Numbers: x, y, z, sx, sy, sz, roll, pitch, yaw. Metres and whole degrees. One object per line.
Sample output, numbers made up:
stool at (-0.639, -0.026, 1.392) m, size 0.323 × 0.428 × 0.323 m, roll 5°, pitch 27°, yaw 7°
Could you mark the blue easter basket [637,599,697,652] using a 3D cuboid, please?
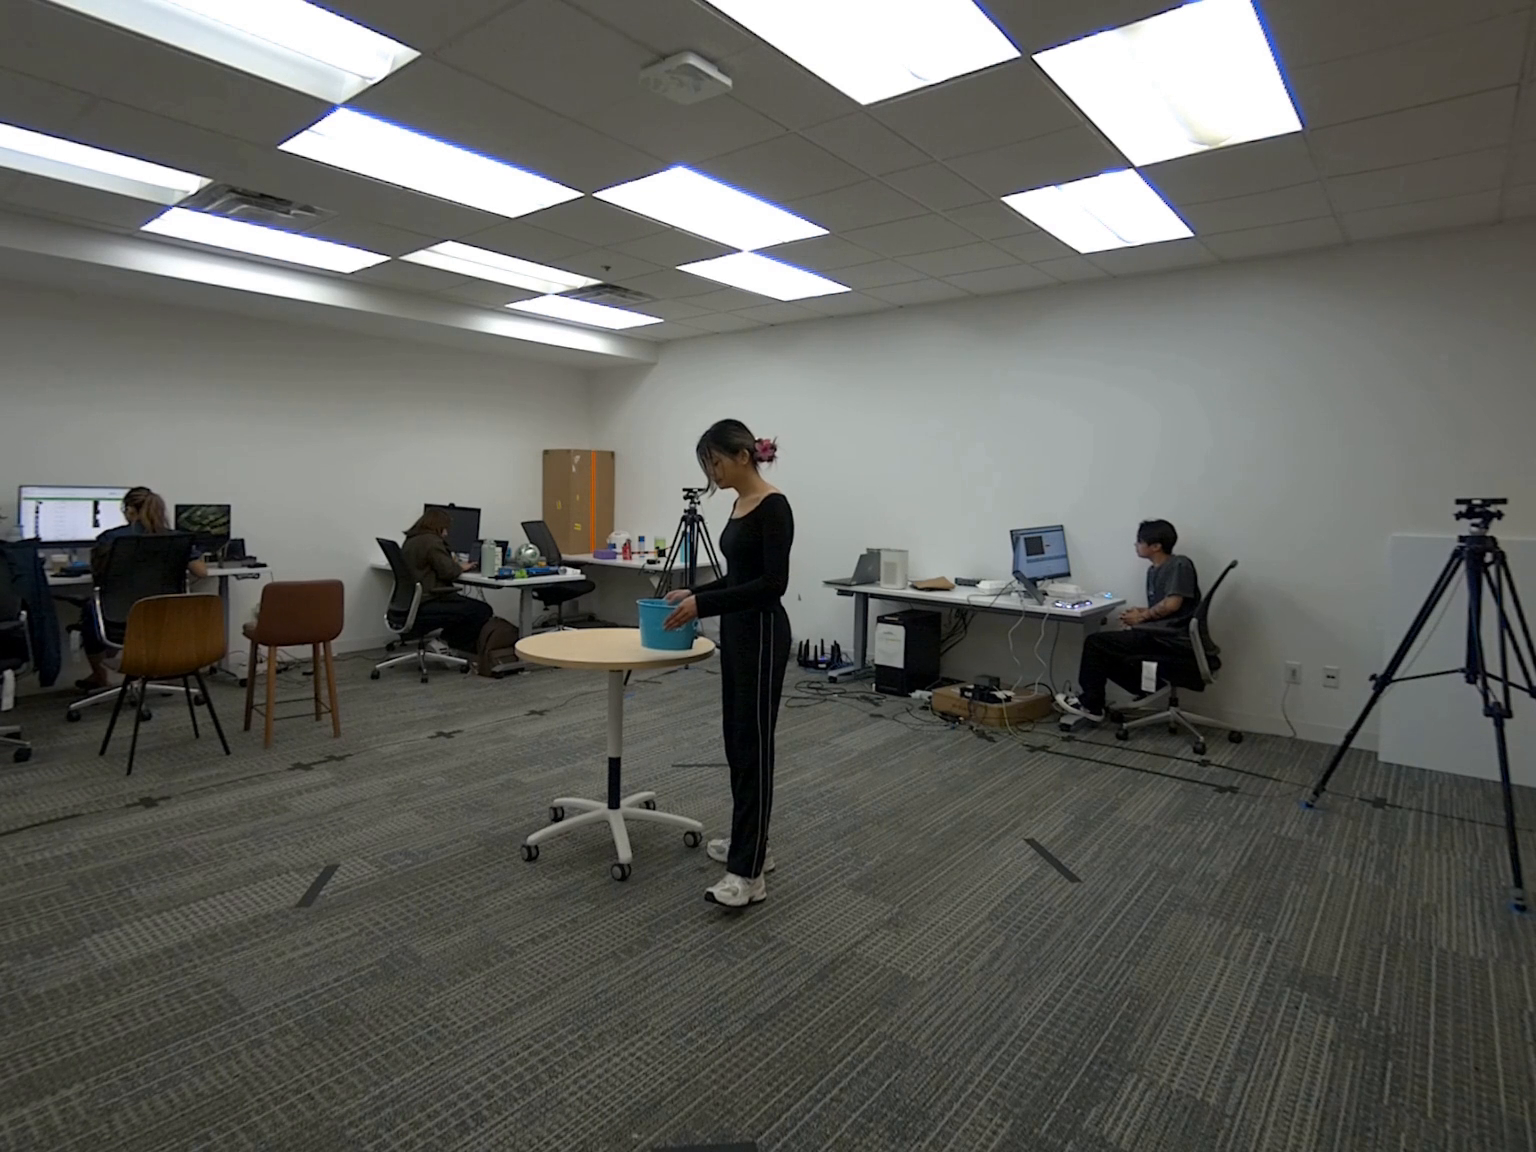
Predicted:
blue easter basket at (-0.349, 0.176, 2.981) m, size 0.243 × 0.155 × 0.244 m, roll 4°, pitch 3°, yaw -2°
